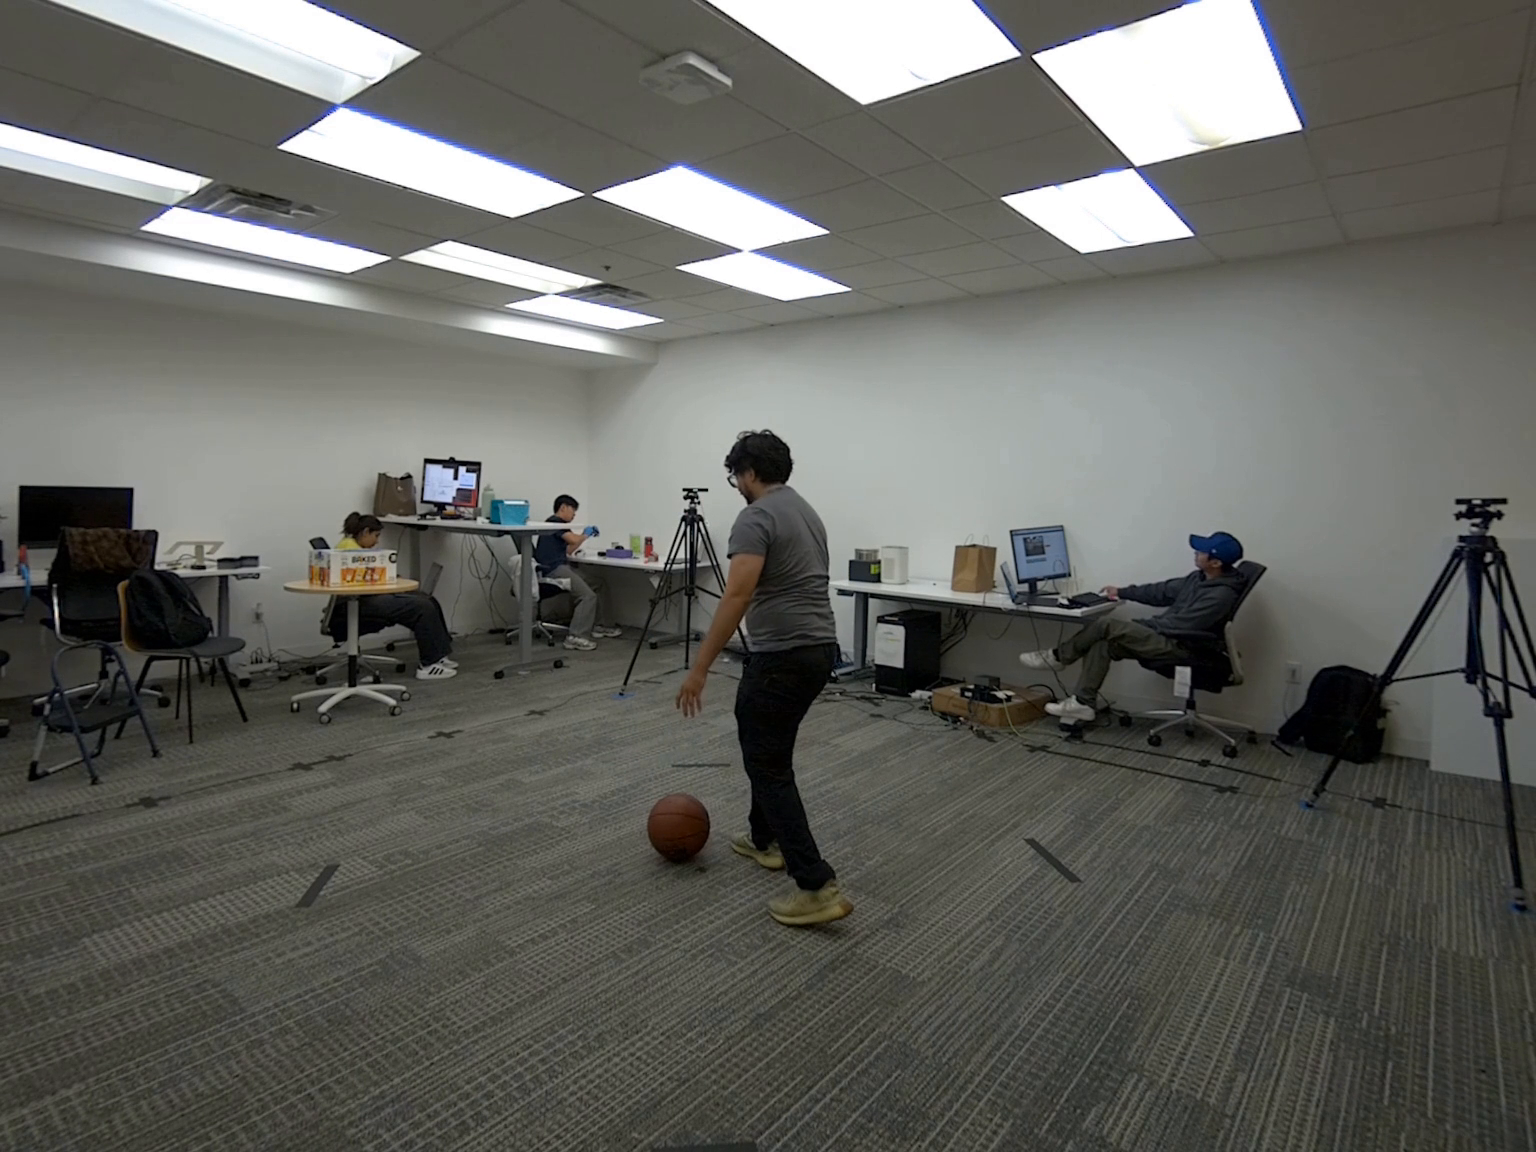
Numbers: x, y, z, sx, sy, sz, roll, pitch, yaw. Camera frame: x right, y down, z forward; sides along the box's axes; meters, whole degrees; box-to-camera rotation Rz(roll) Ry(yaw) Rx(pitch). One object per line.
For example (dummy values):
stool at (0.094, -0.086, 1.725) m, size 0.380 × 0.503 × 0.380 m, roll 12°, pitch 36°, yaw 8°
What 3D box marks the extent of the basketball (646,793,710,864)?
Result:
basketball at (-0.352, 0.940, 3.204) m, size 0.235 × 0.235 × 0.237 m, roll 1°, pitch 4°, yaw -2°
